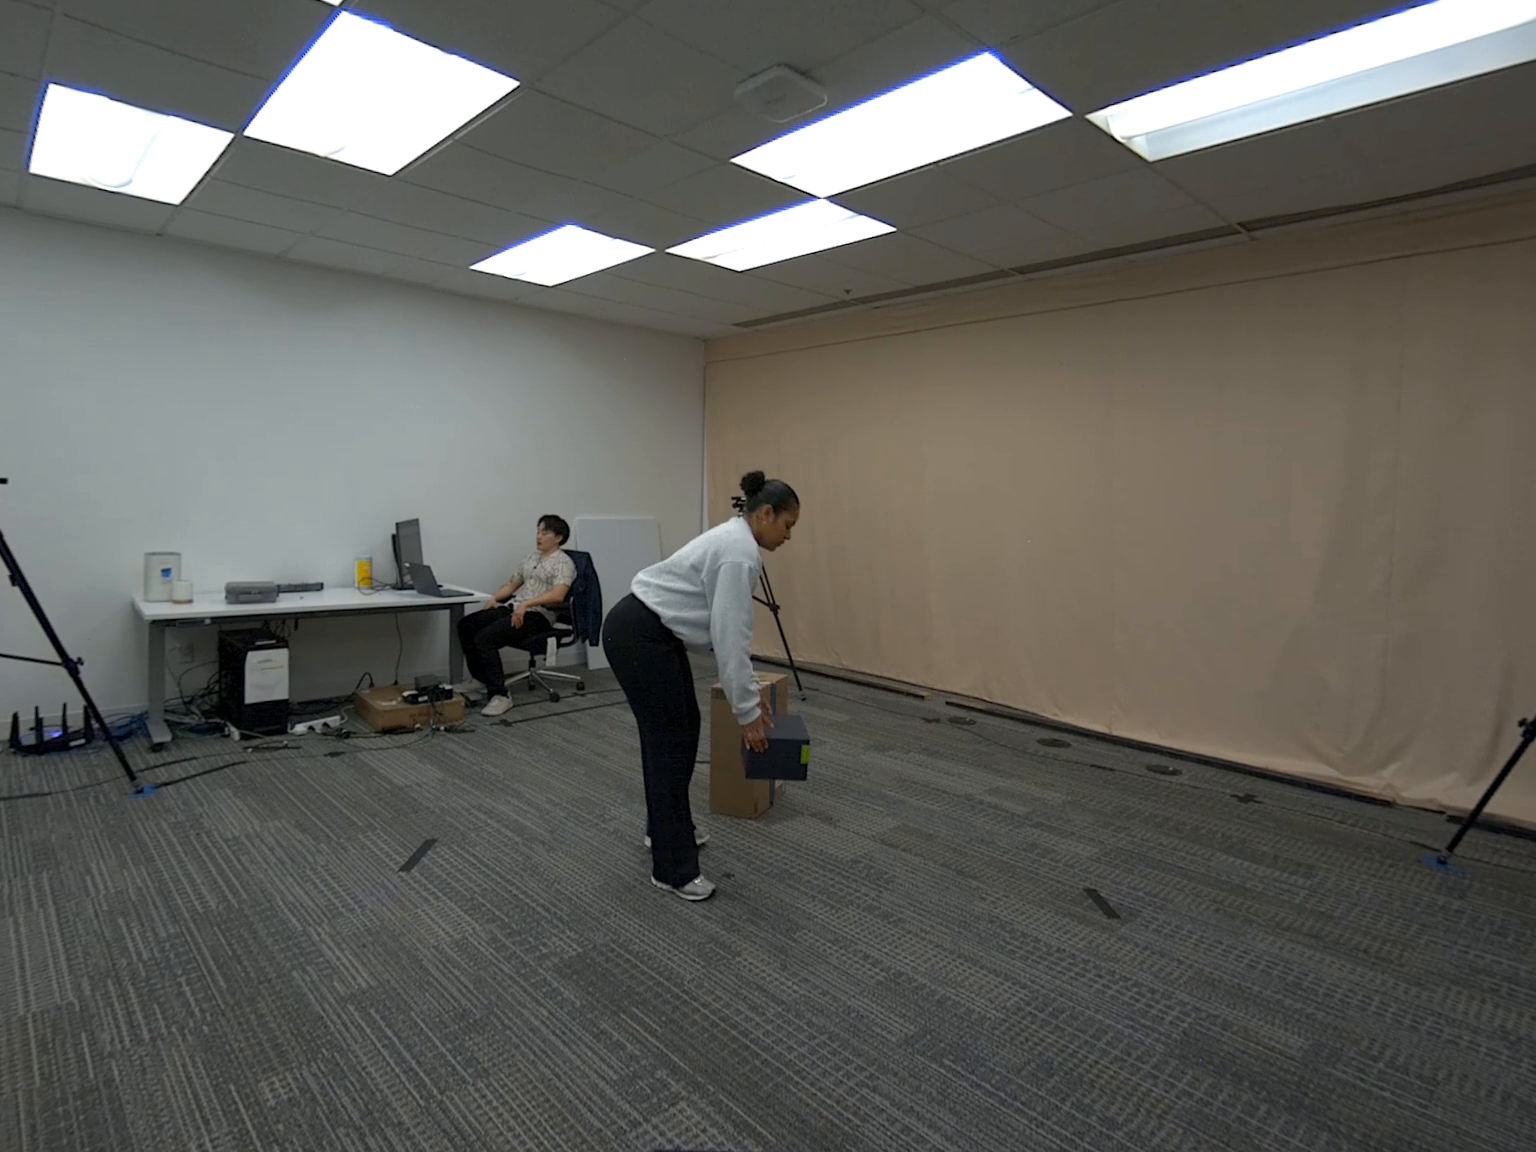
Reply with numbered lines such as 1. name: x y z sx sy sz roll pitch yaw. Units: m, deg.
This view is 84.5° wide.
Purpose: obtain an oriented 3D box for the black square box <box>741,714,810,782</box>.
1. black square box: 0.017 0.612 3.009 0.216 0.155 0.230 3 8 -4
